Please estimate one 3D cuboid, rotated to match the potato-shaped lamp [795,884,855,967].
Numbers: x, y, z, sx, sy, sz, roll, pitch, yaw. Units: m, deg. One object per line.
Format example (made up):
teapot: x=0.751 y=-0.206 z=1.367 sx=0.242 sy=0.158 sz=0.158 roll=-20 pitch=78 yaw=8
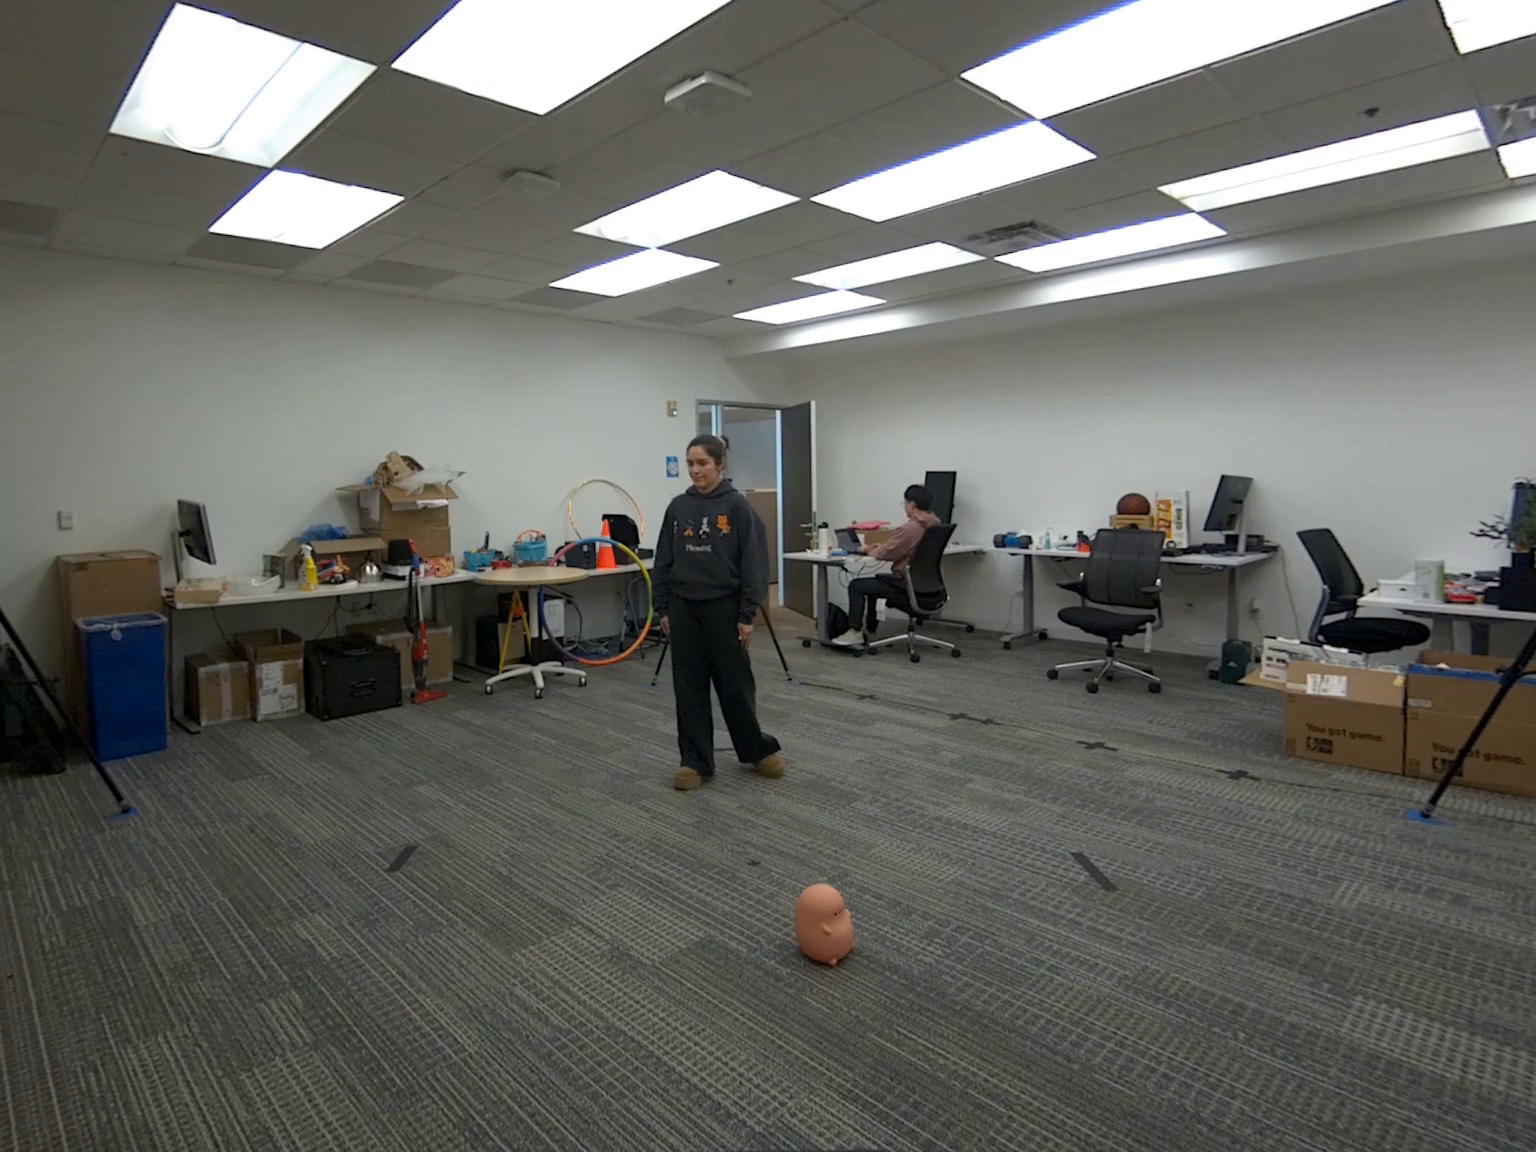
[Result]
potato-shaped lamp: x=0.168 y=1.011 z=2.502 sx=0.177 sy=0.197 sz=0.161 roll=6 pitch=9 yaw=38
